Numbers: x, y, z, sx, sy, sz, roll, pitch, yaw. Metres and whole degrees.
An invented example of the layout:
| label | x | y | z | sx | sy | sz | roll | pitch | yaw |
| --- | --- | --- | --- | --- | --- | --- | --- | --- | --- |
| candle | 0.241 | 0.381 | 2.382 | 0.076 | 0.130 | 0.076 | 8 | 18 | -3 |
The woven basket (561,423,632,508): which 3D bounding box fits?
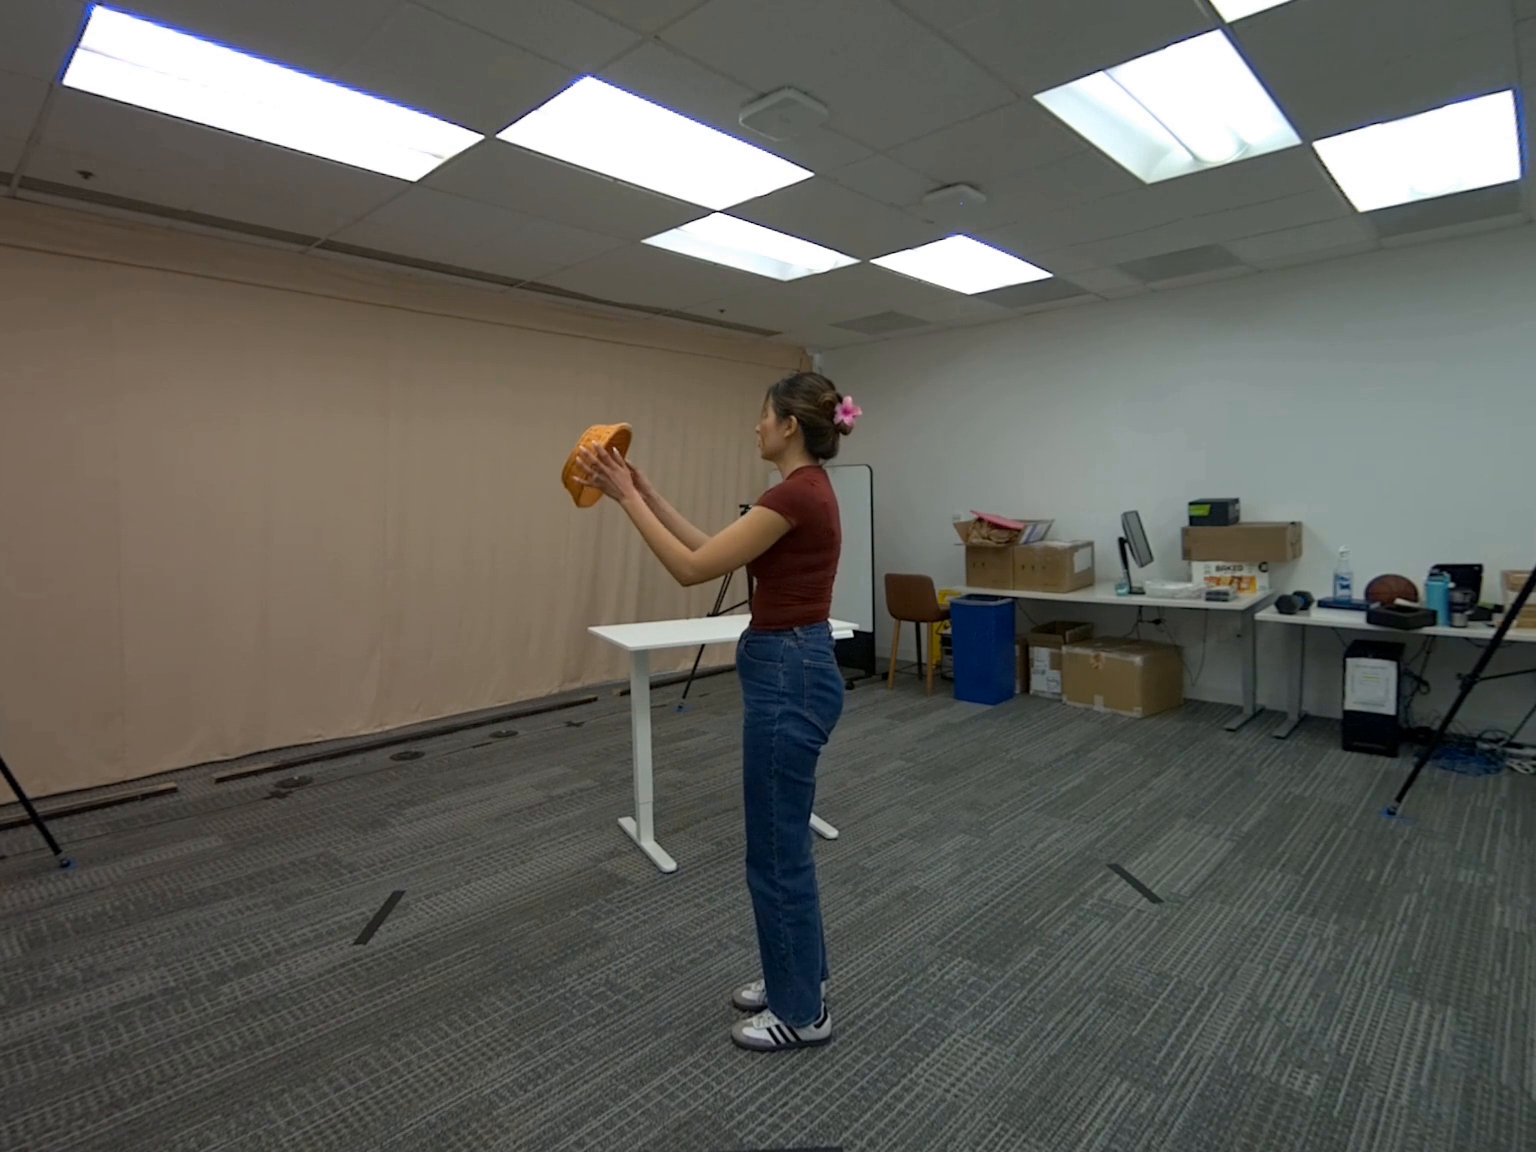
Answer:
| label | x | y | z | sx | sy | sz | roll | pitch | yaw |
| --- | --- | --- | --- | --- | --- | --- | --- | --- | --- |
| woven basket | -0.456 | -0.292 | 2.224 | 0.073 | 0.252 | 0.350 | 27 | 3 | -2 |
